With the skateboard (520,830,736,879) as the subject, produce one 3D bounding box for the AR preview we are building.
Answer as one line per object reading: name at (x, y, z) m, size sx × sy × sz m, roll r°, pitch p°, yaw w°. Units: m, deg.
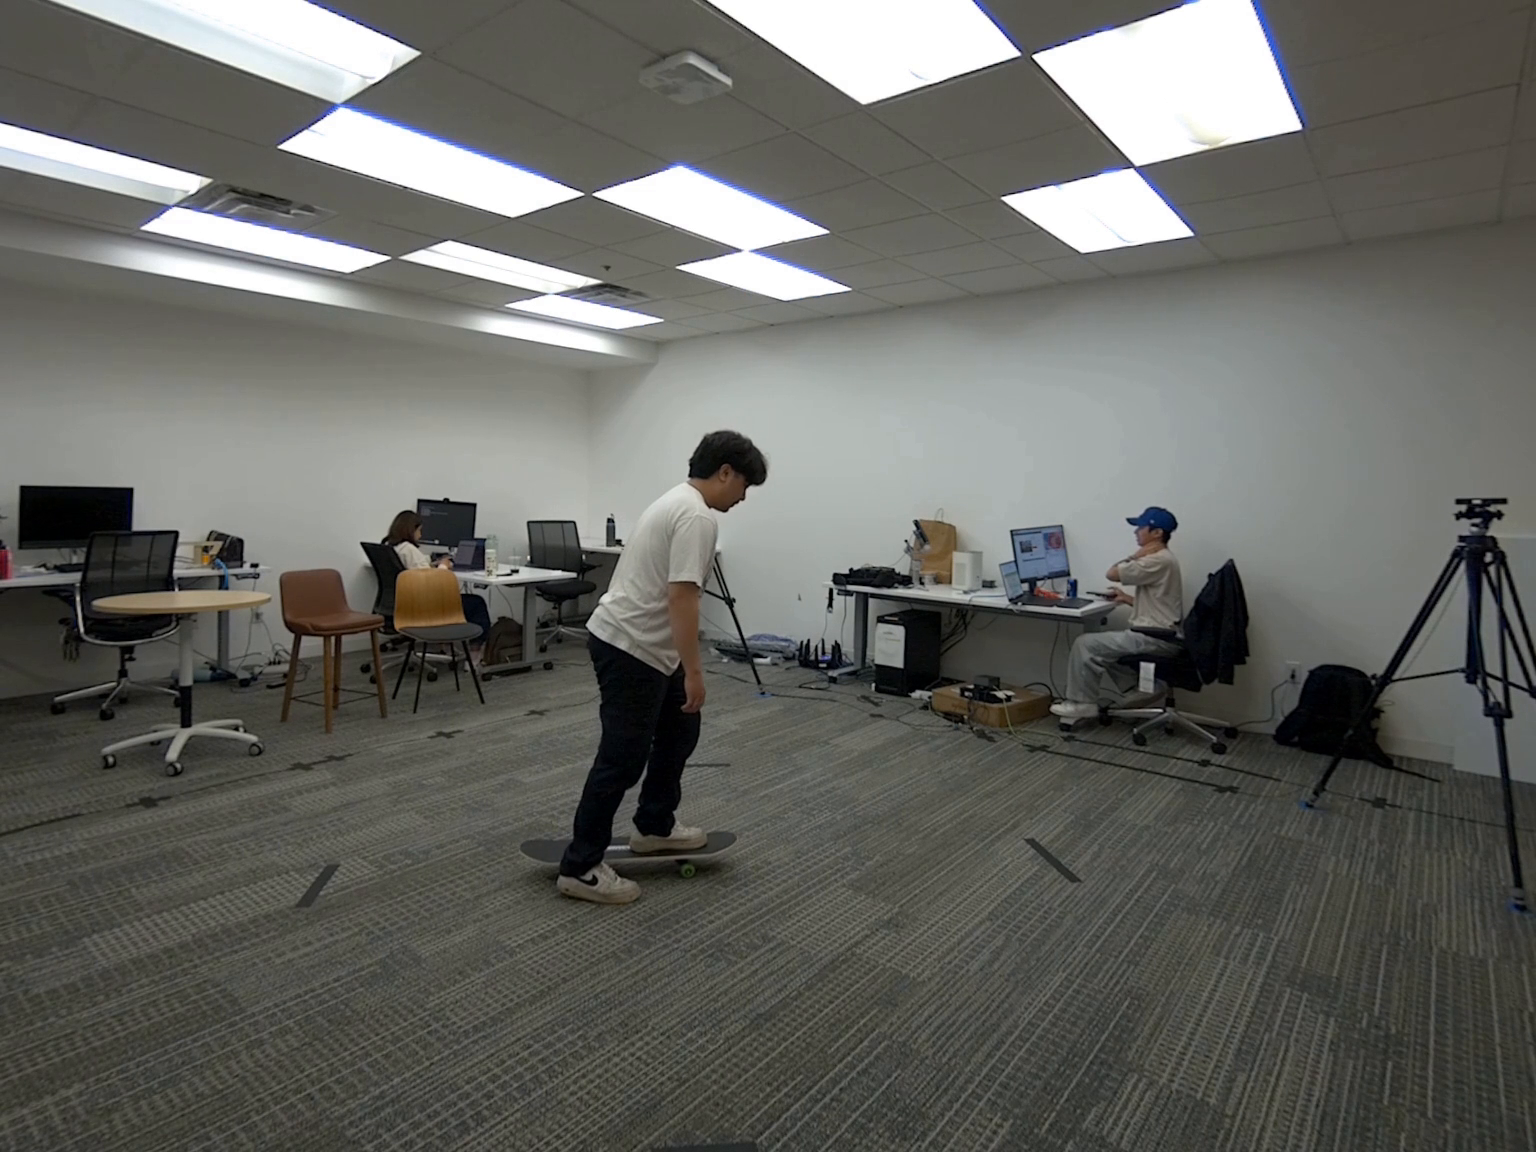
skateboard at (-0.504, 1.007, 3.076) m, size 0.777 × 0.110 × 0.196 m, roll 0°, pitch 5°, yaw -9°
